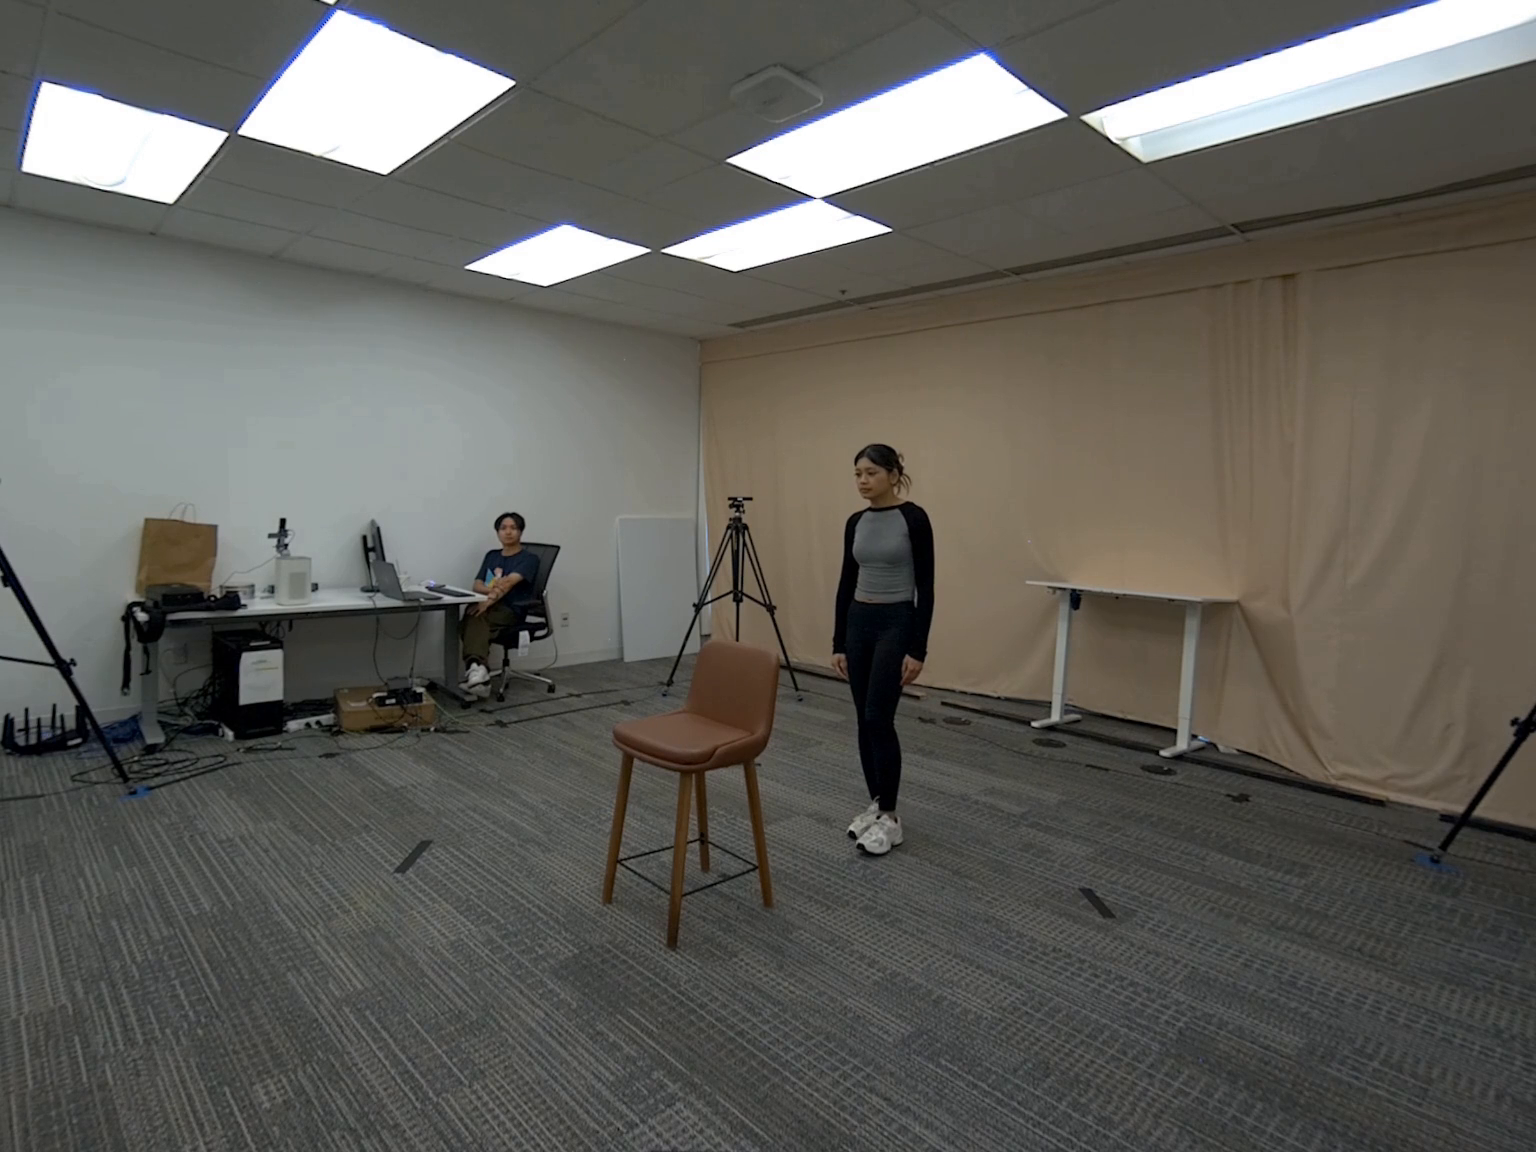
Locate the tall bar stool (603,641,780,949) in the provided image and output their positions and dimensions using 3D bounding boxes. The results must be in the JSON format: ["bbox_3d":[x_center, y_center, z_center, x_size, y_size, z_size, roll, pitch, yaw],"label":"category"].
[{"bbox_3d":[-0.259,0.694,2.855,0.456,0.888,0.468,1,3,-42],"label":"tall bar stool"}]
